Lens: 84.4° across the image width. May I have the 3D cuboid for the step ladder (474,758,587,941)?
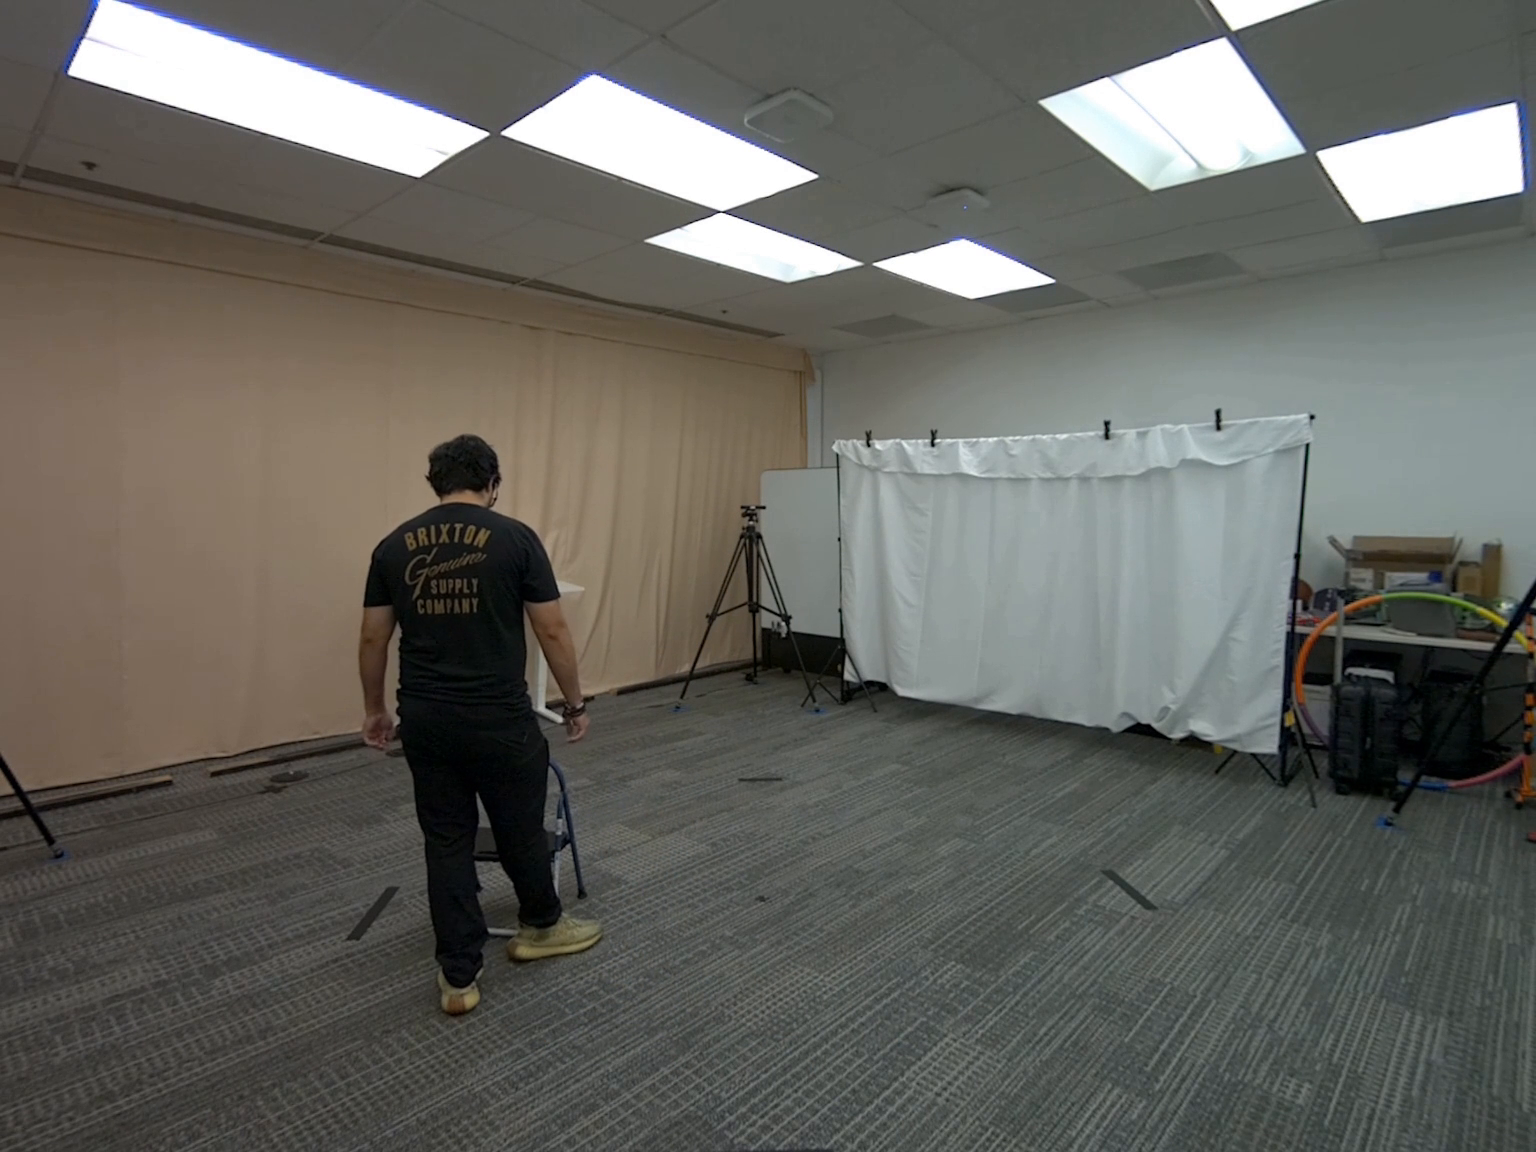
[{"bbox_3d":[-0.887,0.866,2.867,0.435,0.605,0.347,0,3,8],"label":"step ladder"}]
